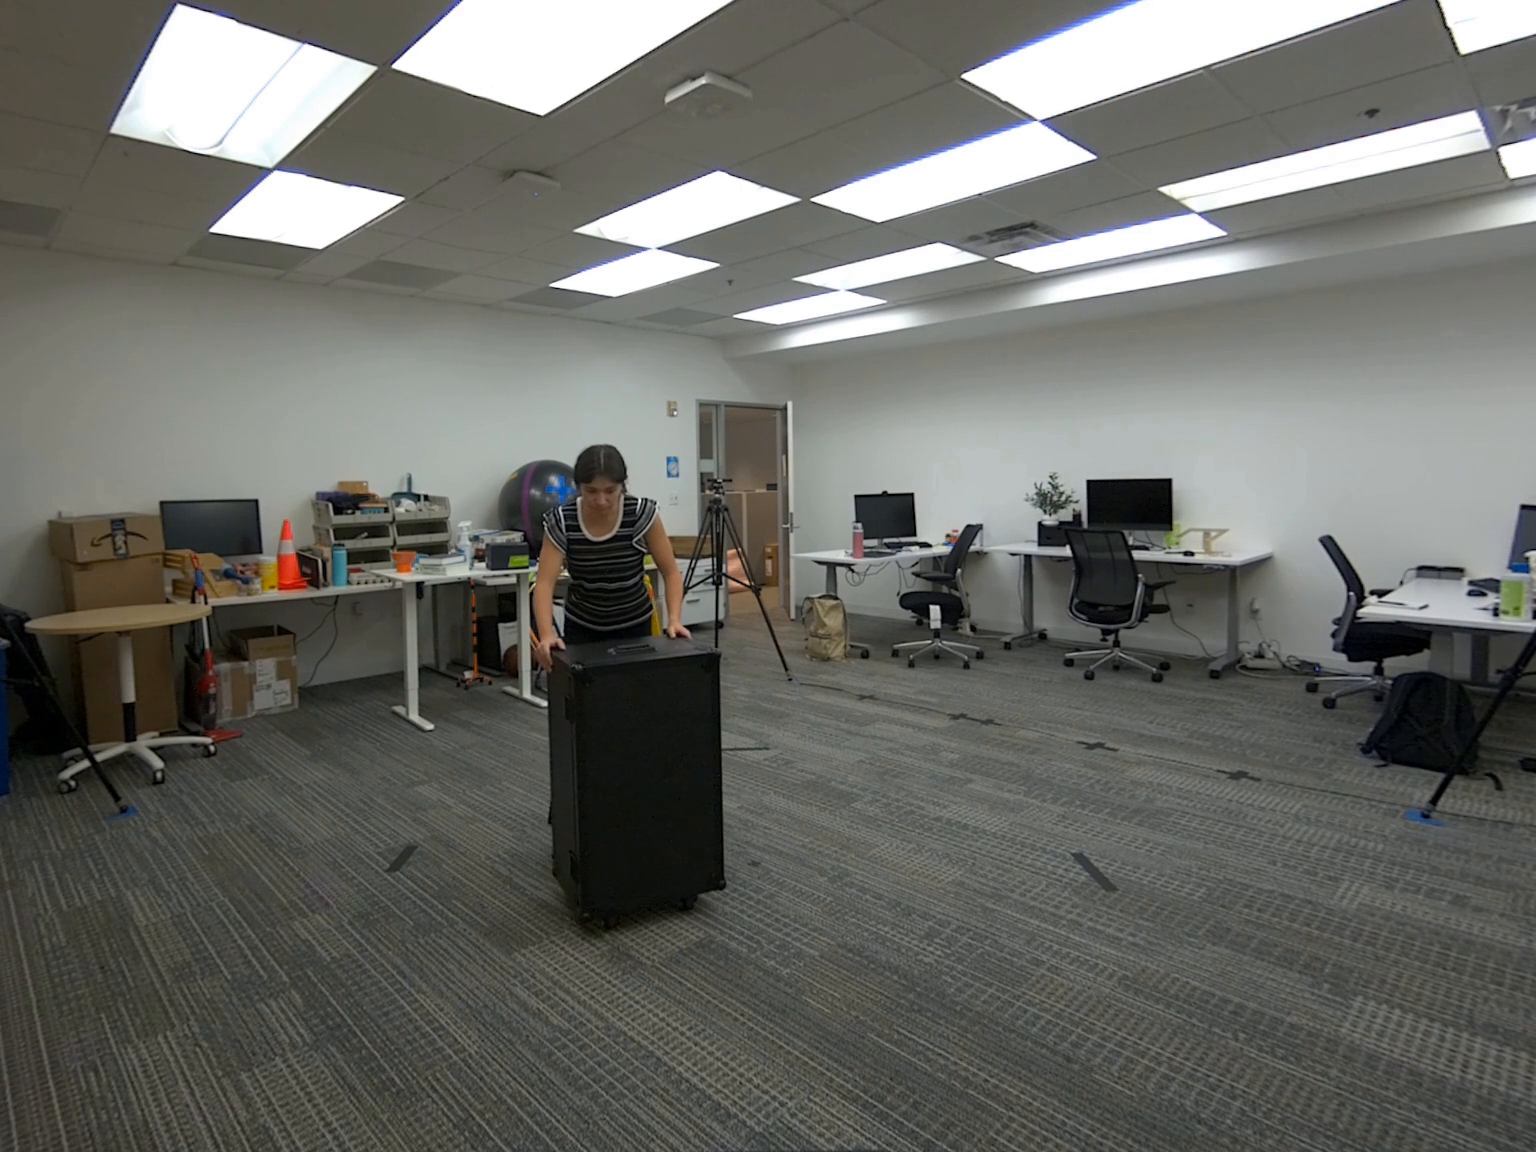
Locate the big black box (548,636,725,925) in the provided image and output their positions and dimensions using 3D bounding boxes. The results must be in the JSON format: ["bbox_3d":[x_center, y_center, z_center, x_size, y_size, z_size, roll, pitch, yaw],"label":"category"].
[{"bbox_3d":[-0.447,0.660,2.816,0.510,0.858,0.406,-3,4,-26],"label":"big black box"}]
